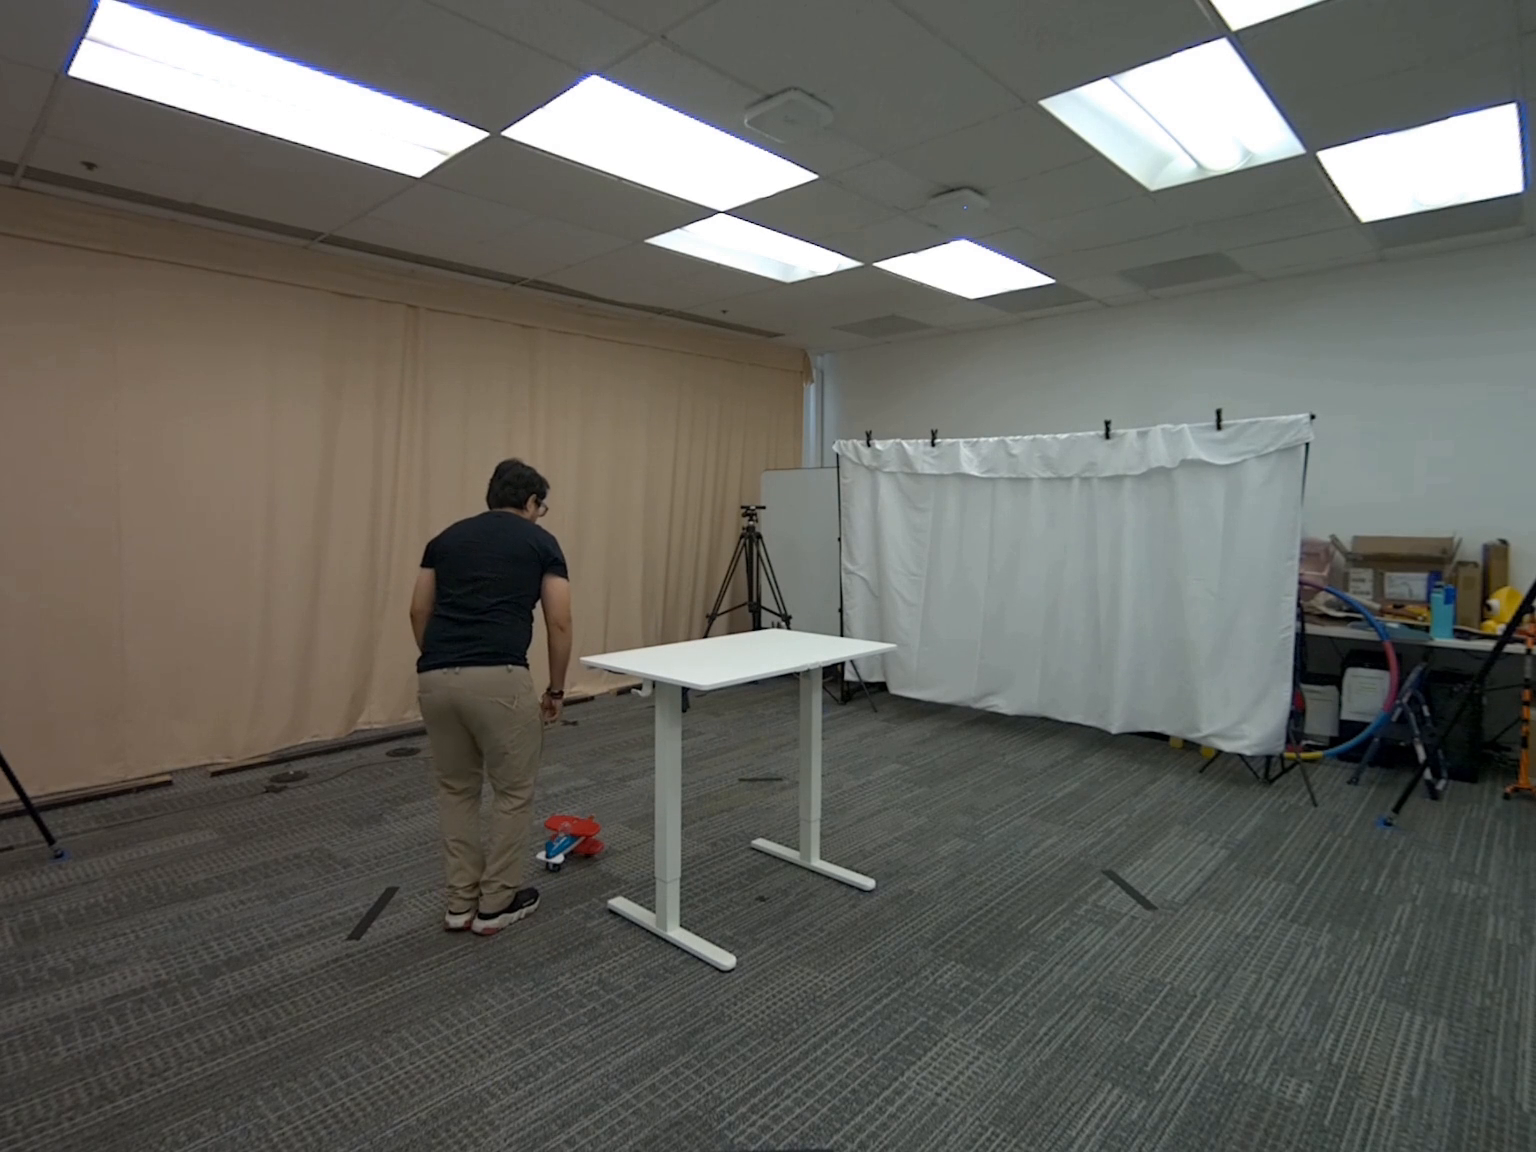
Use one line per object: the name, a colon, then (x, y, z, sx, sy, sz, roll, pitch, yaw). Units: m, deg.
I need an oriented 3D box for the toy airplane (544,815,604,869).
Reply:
toy airplane: (-0.768, 1.050, 3.302, 0.251, 0.156, 0.260, -1, 2, -2)
